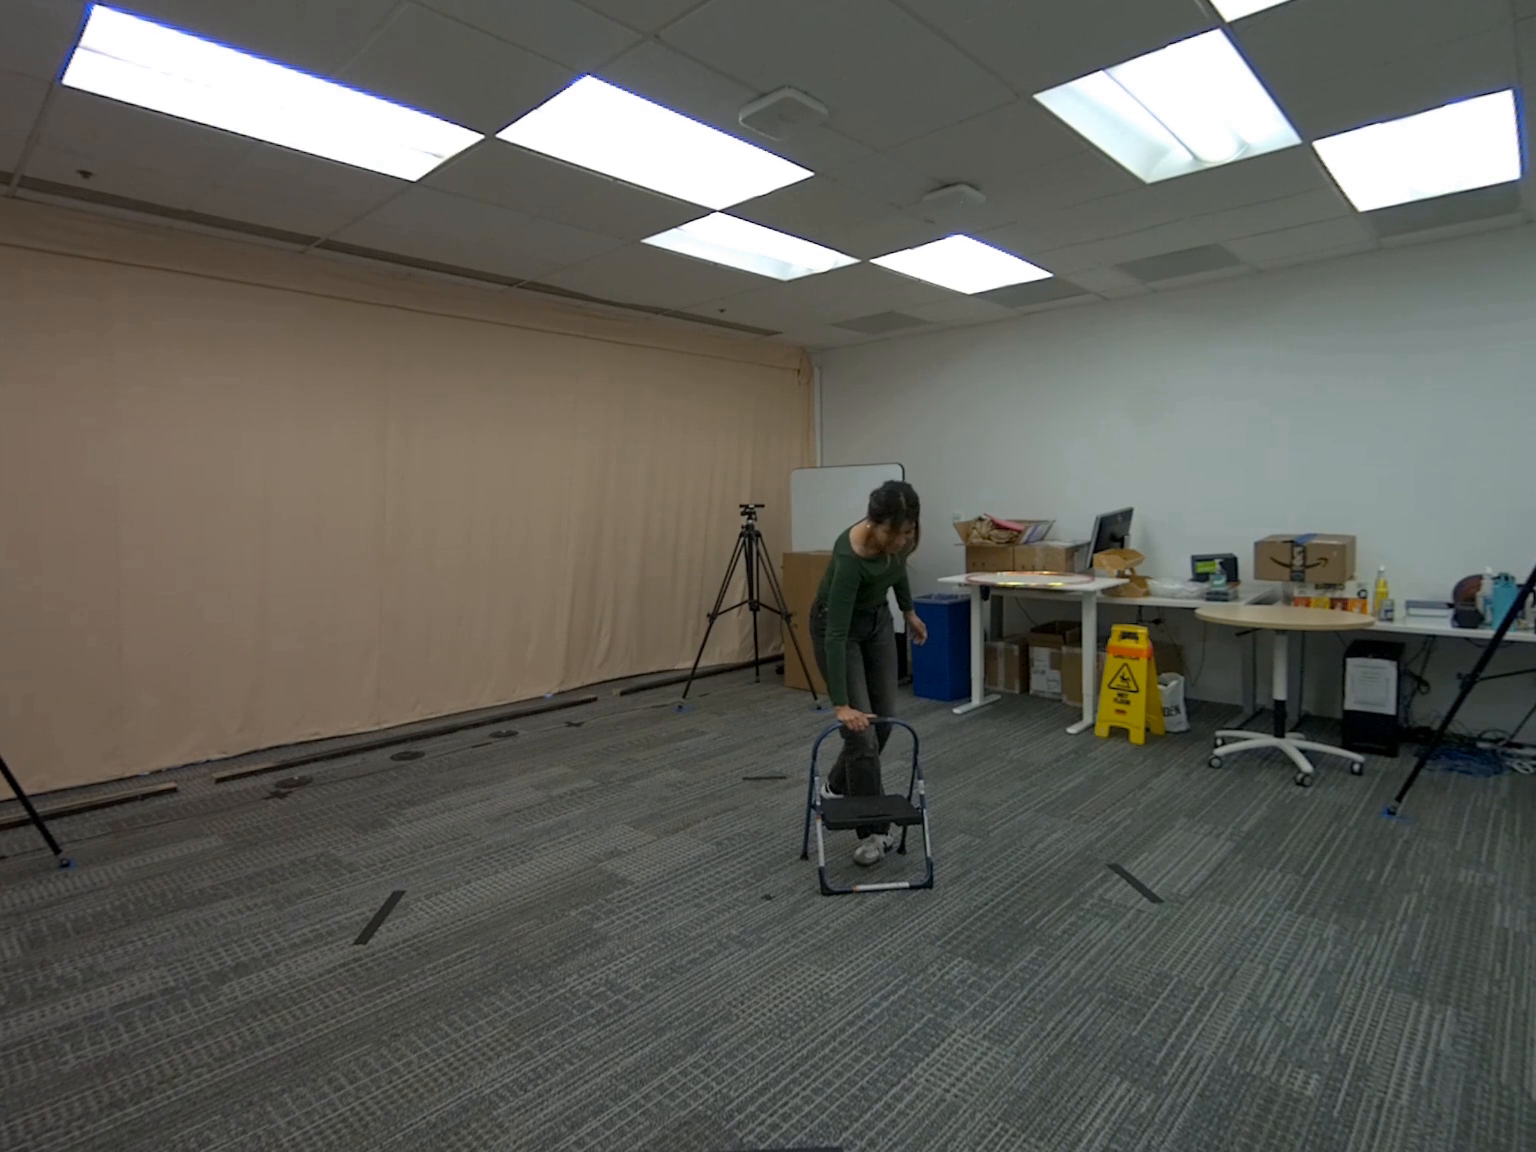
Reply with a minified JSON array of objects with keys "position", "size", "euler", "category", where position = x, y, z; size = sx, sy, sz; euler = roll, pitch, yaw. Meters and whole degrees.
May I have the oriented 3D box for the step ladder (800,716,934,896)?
[{"position":[0.358,0.815,3.148],"size":[0.427,0.604,0.353],"euler":[-1,4,-8],"category":"step ladder"}]
